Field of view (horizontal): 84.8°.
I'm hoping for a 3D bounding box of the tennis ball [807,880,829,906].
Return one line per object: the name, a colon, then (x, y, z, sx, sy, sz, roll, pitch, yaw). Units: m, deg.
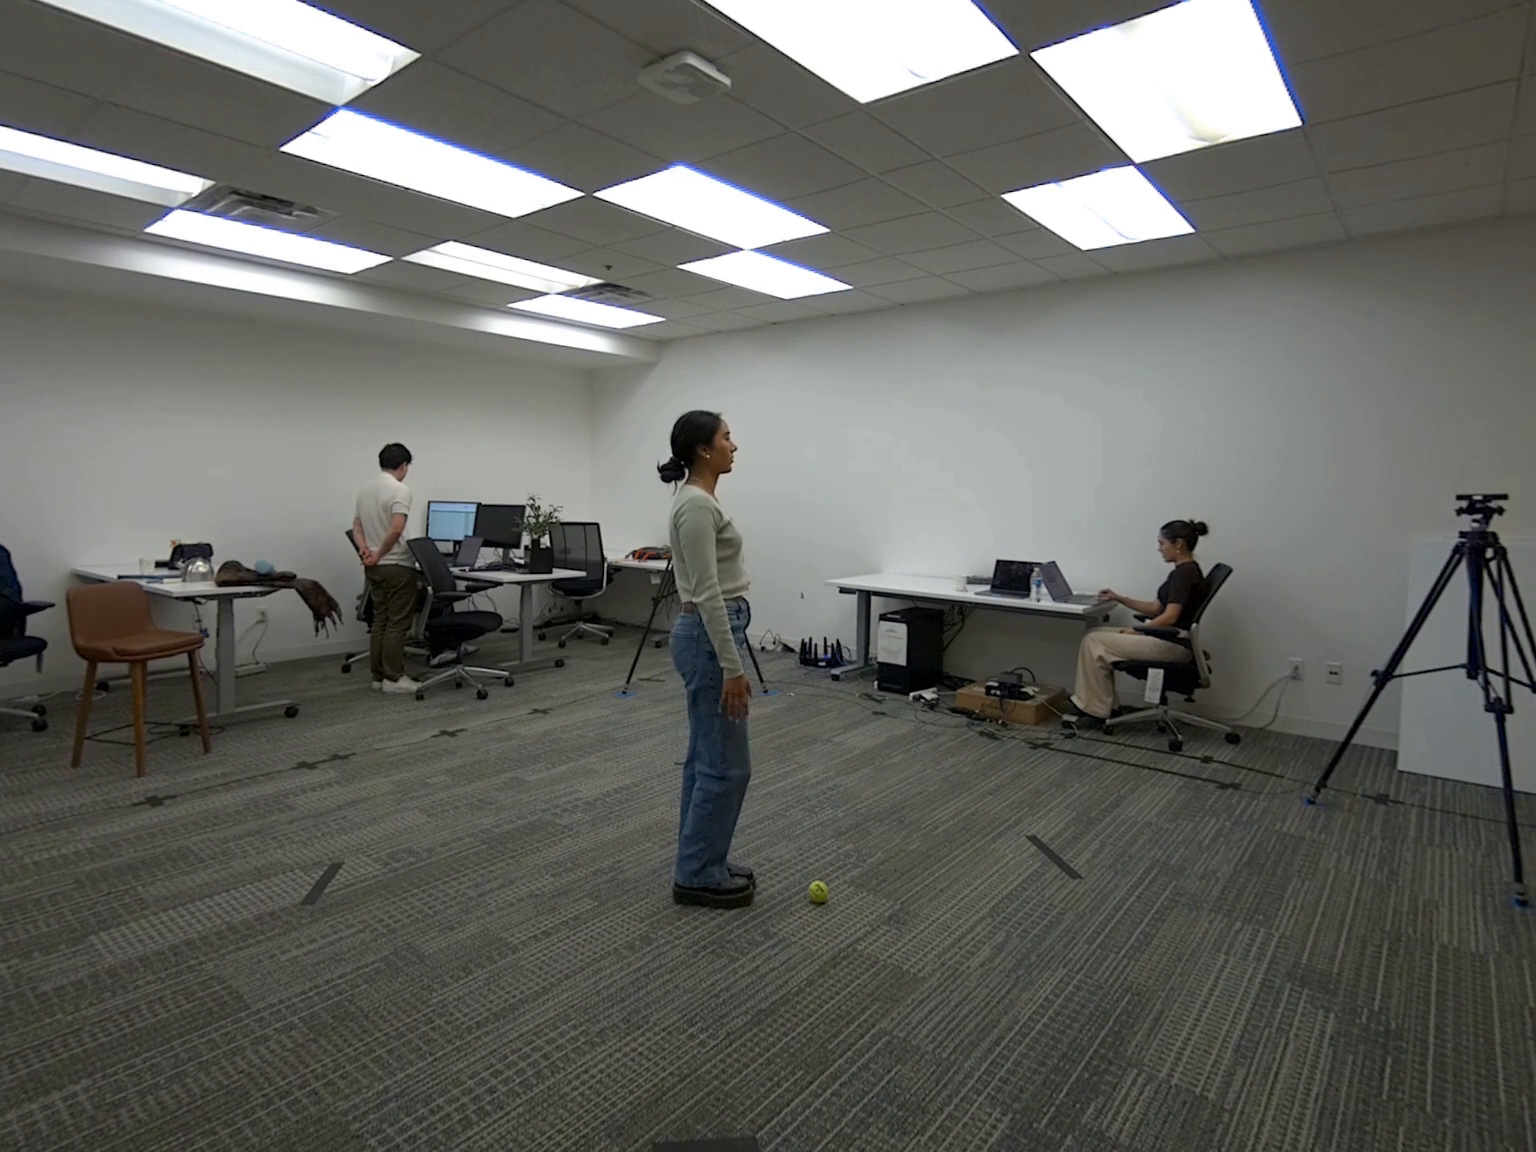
tennis ball: (0.159, 1.055, 2.875, 0.066, 0.066, 0.067, 1, 4, -2)
